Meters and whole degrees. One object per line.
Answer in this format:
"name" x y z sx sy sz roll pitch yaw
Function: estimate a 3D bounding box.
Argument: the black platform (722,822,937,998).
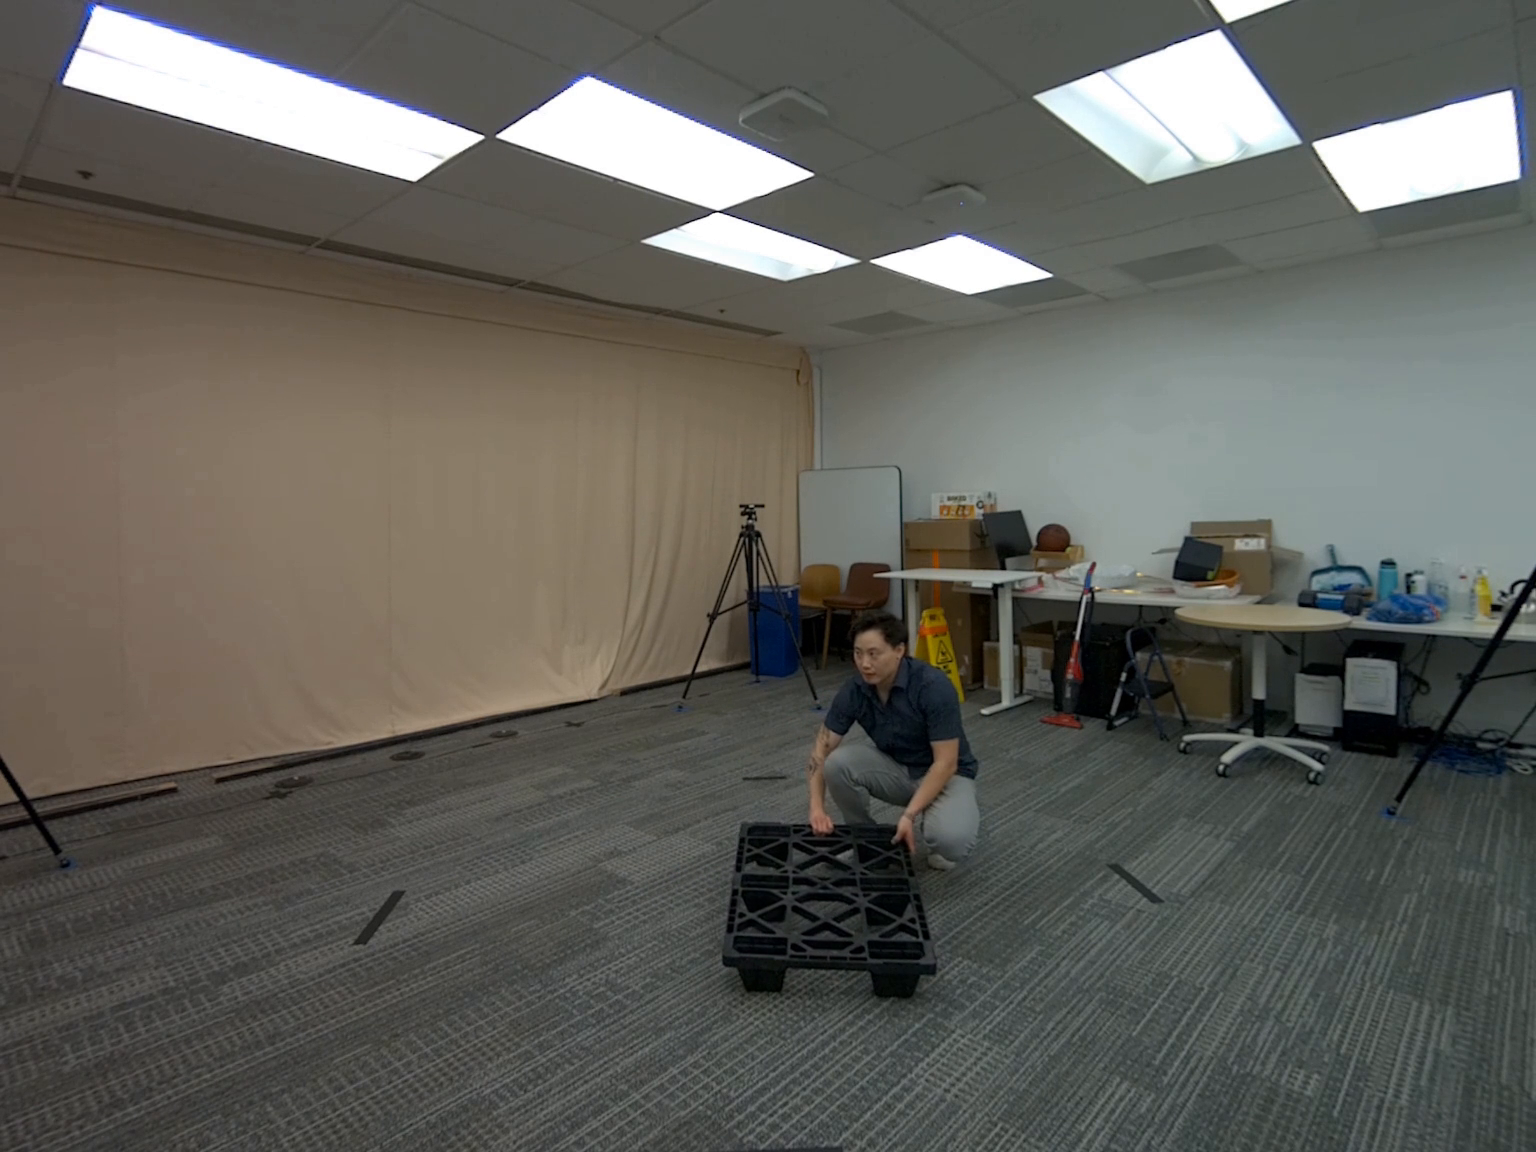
"black platform" 0.187 1.056 2.736 0.608 0.142 0.806 0 10 4
